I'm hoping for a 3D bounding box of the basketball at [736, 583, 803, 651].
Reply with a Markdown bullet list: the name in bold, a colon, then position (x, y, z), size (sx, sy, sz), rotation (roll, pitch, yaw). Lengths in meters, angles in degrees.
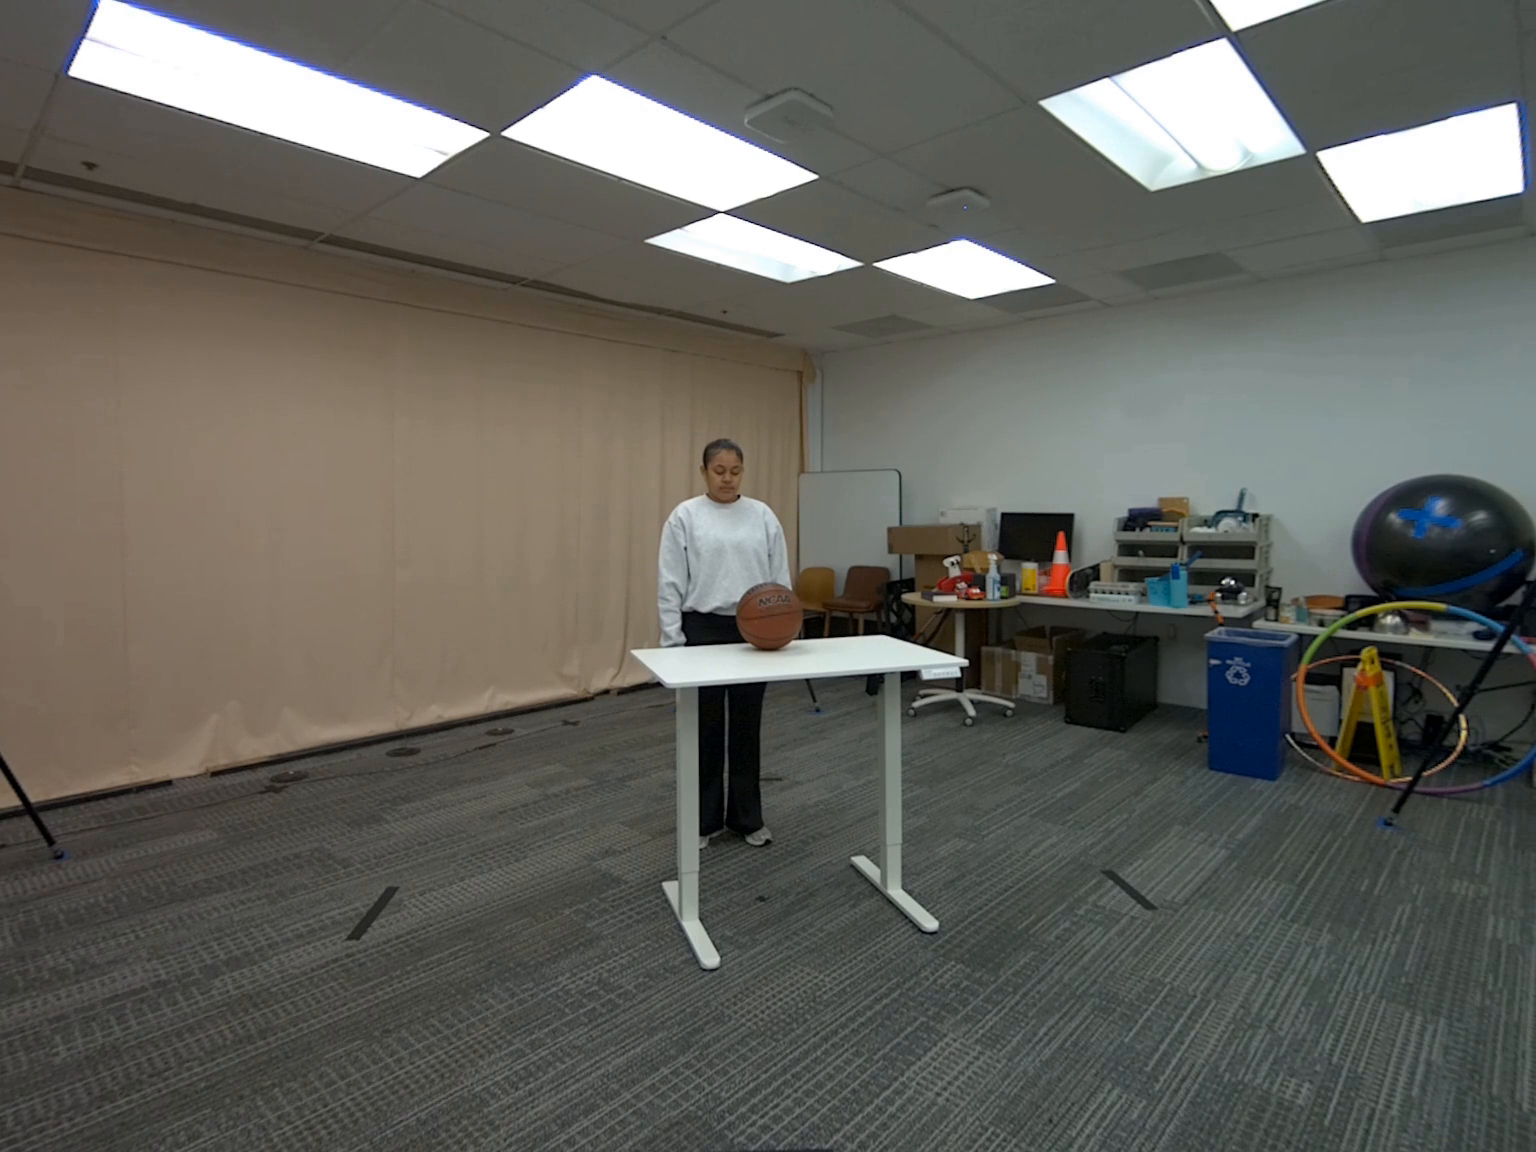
- **basketball**: position (0.003, 0.141, 3.001), size (0.236, 0.235, 0.237), rotation (0, 4, -2)
